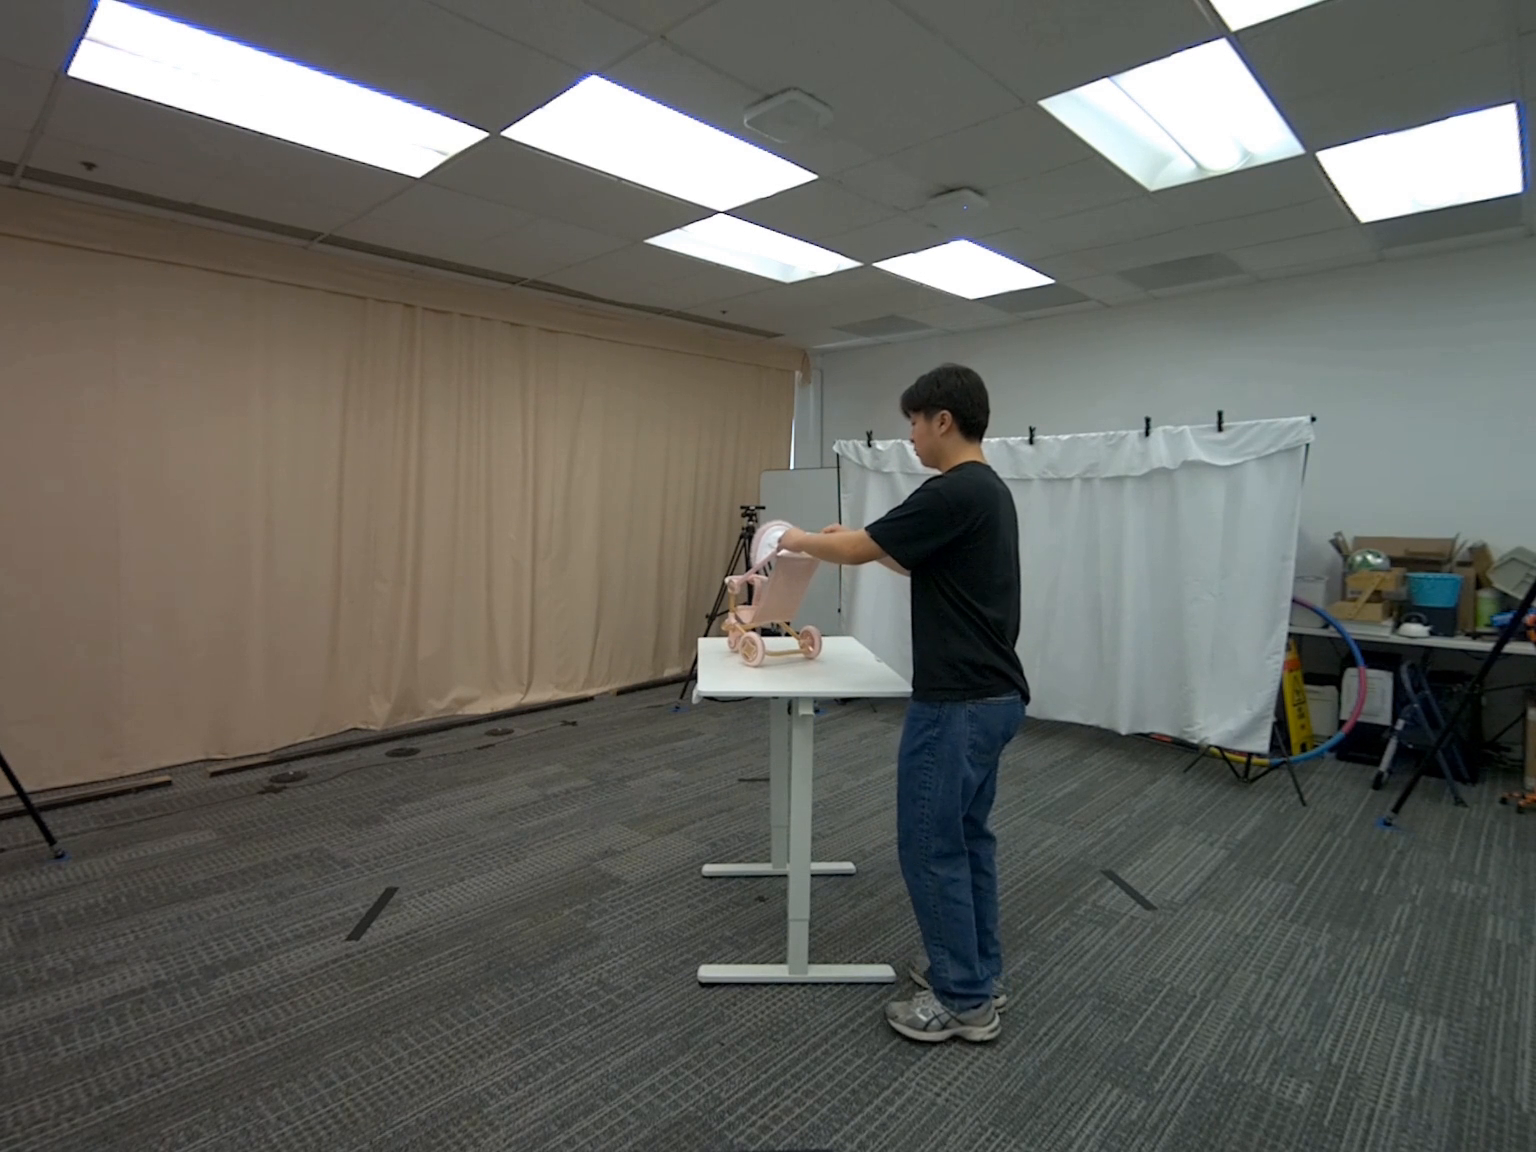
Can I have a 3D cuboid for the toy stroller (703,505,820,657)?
[{"bbox_3d":[0.017,0.055,2.767,0.273,0.531,0.354,0,19,-35],"label":"toy stroller"}]
